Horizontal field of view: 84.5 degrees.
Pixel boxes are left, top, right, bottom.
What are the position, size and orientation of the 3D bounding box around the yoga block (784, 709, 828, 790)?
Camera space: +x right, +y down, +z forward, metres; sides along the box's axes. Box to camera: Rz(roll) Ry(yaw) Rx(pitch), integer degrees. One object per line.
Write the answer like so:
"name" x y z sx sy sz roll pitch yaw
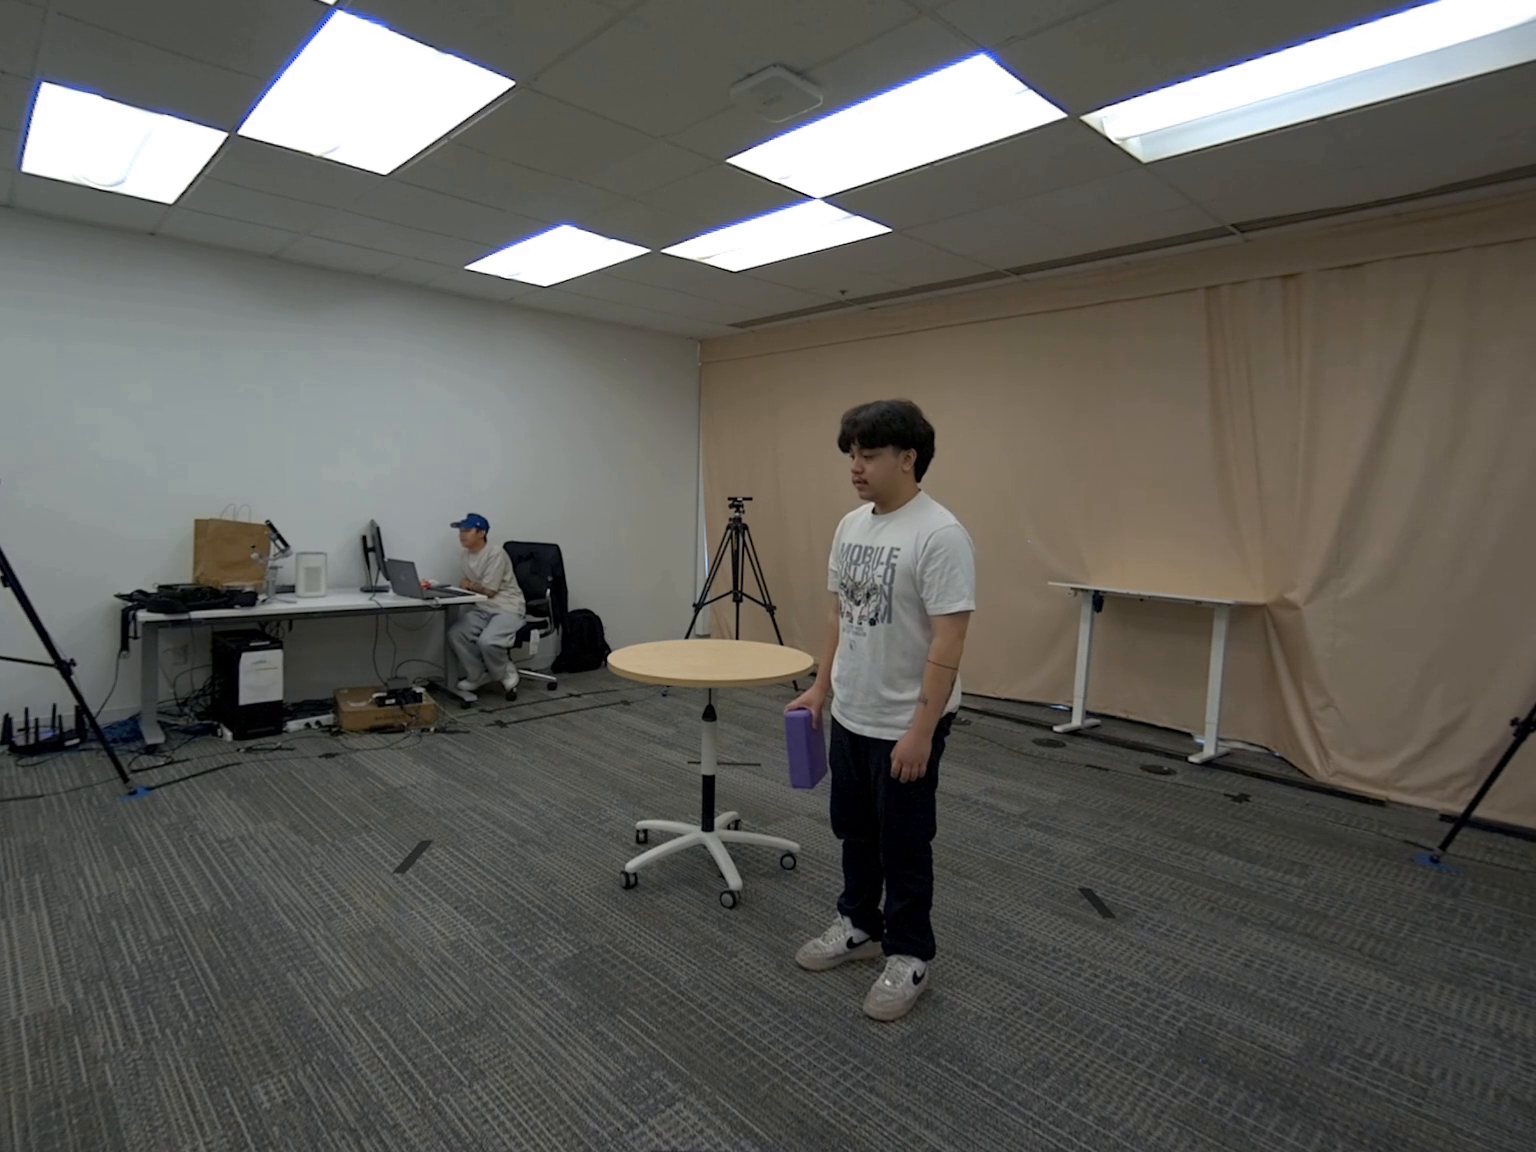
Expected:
"yoga block" 0.123 0.524 2.578 0.078 0.229 0.147 -1 4 24
